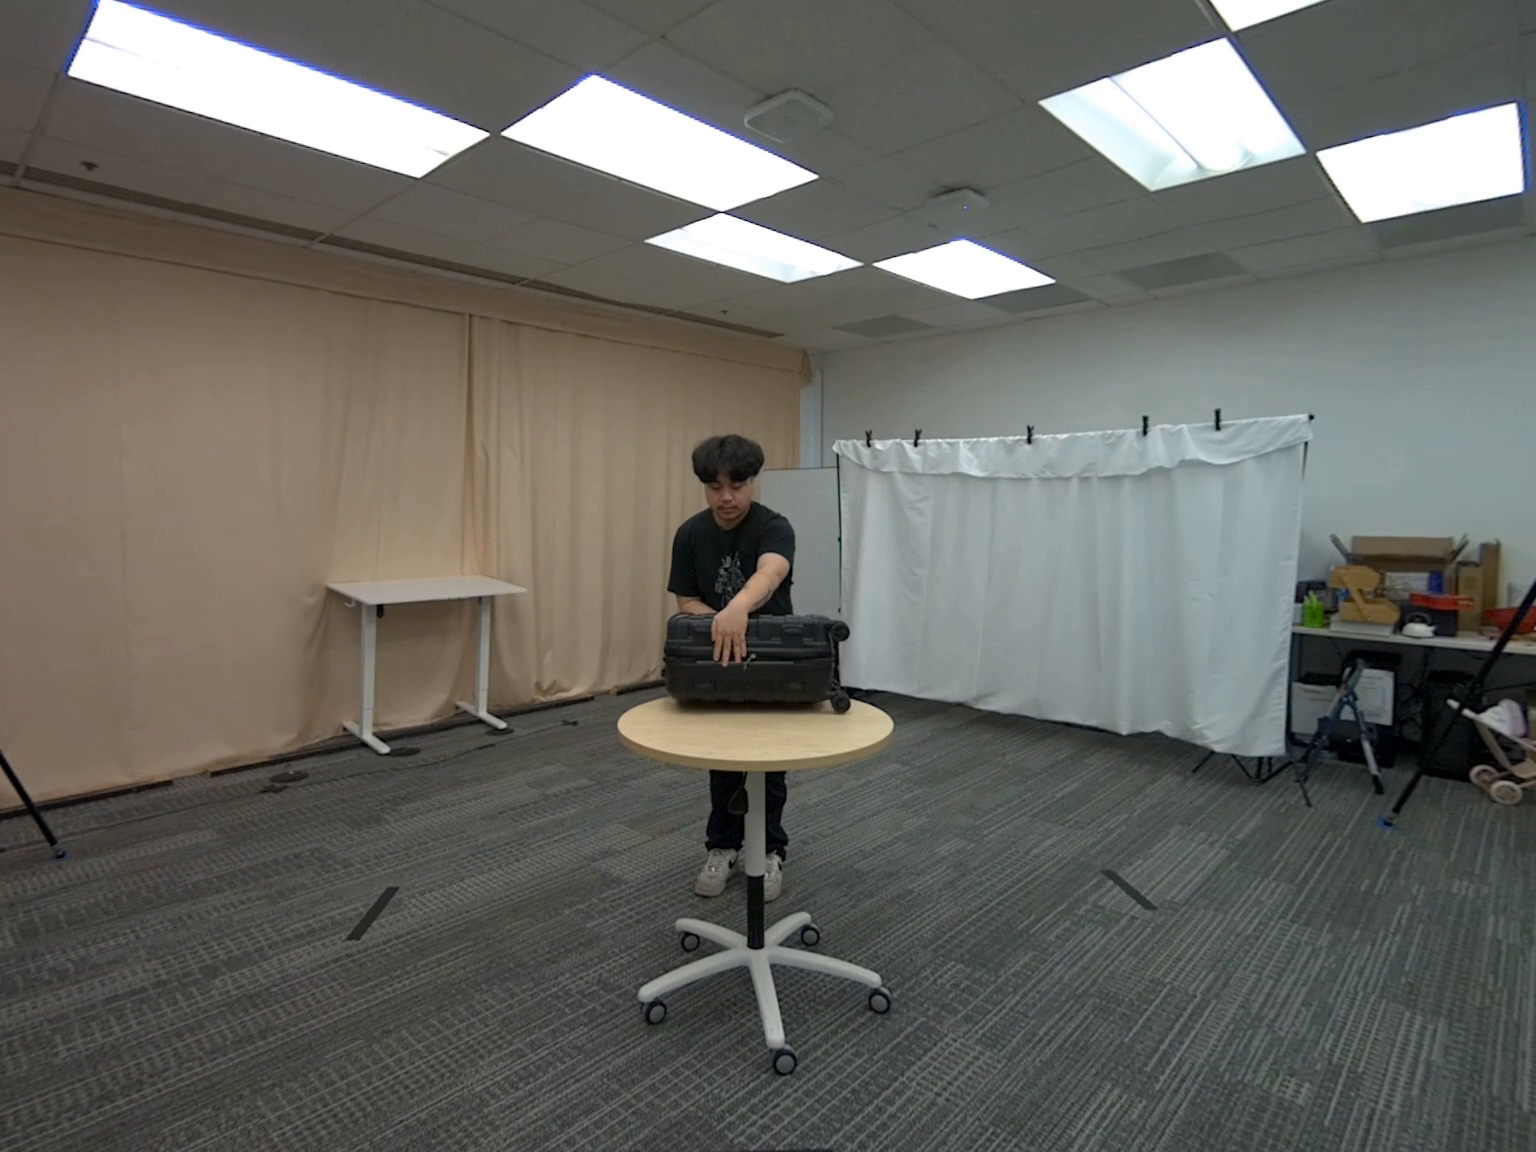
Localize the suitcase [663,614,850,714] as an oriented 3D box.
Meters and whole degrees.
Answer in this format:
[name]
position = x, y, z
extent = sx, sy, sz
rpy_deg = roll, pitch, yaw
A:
[suitcase]
position = -0.038, 0.254, 2.581
extent = 0.550, 0.249, 0.374
rpy_deg = 0, -2, 1
